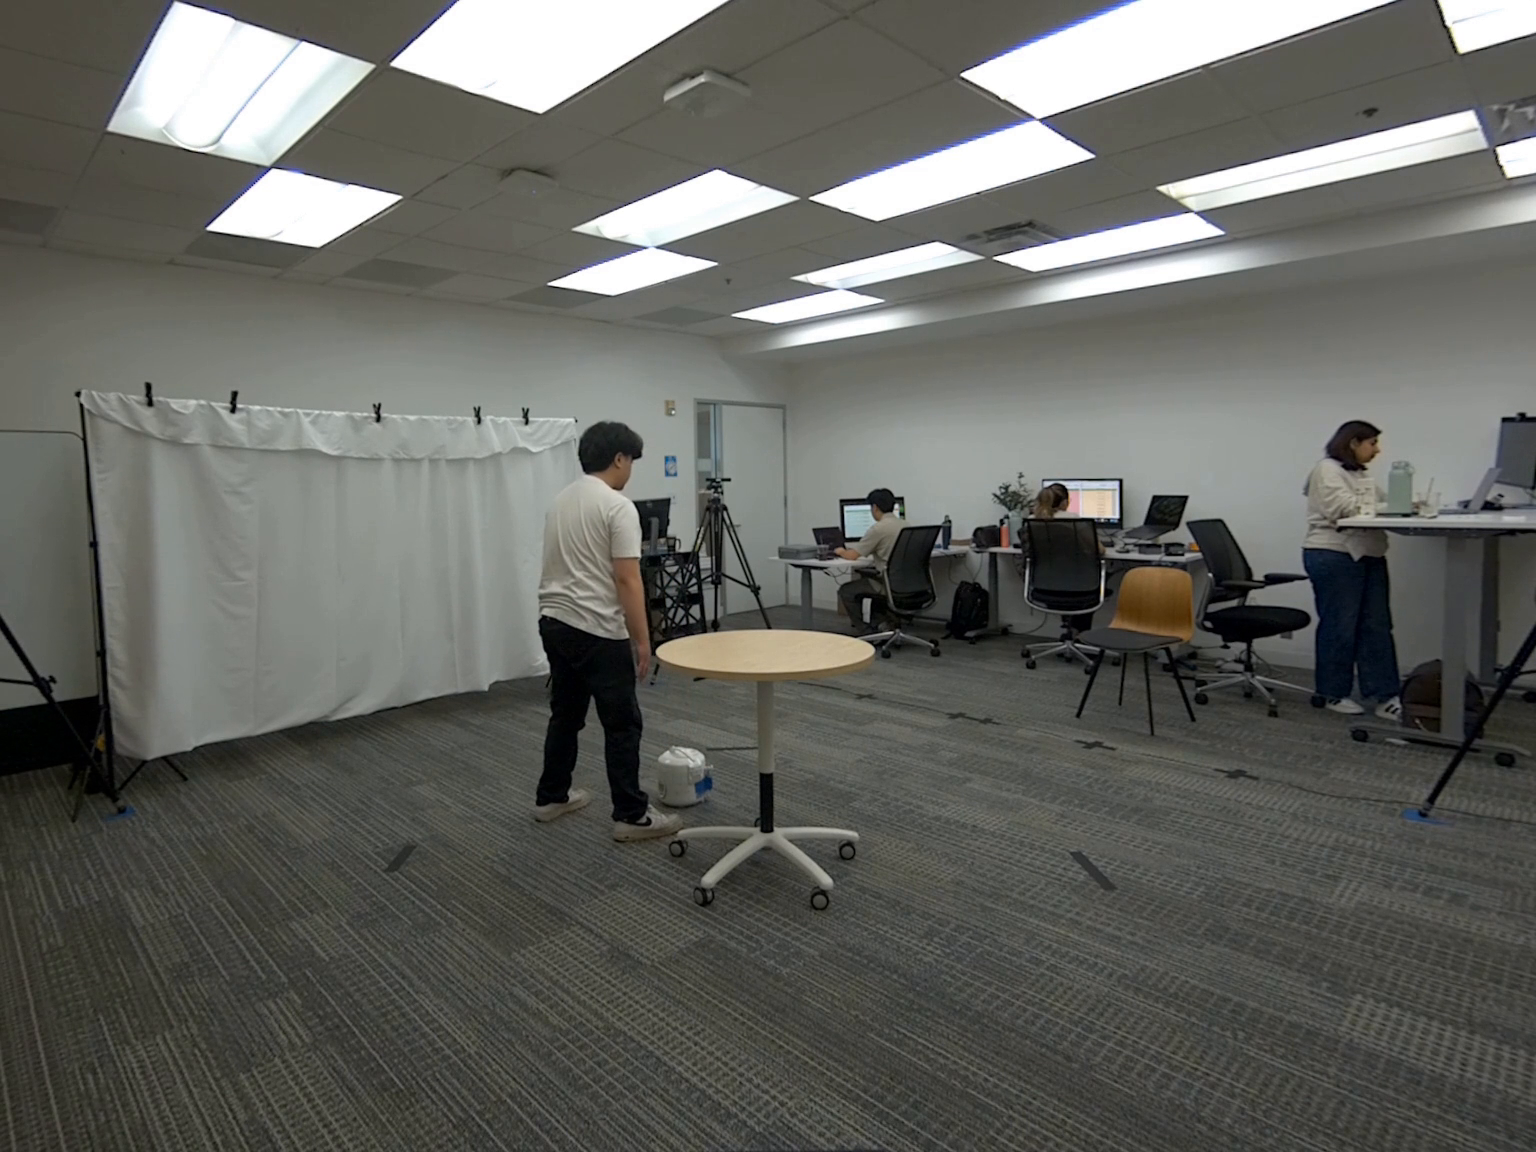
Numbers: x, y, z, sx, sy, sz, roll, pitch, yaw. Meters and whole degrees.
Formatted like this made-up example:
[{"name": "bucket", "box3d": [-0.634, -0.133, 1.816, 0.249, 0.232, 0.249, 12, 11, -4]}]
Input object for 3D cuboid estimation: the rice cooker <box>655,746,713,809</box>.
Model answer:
[{"name": "rice cooker", "box3d": [-0.378, 0.861, 3.718, 0.212, 0.232, 0.227, -4, 5, -40]}]
